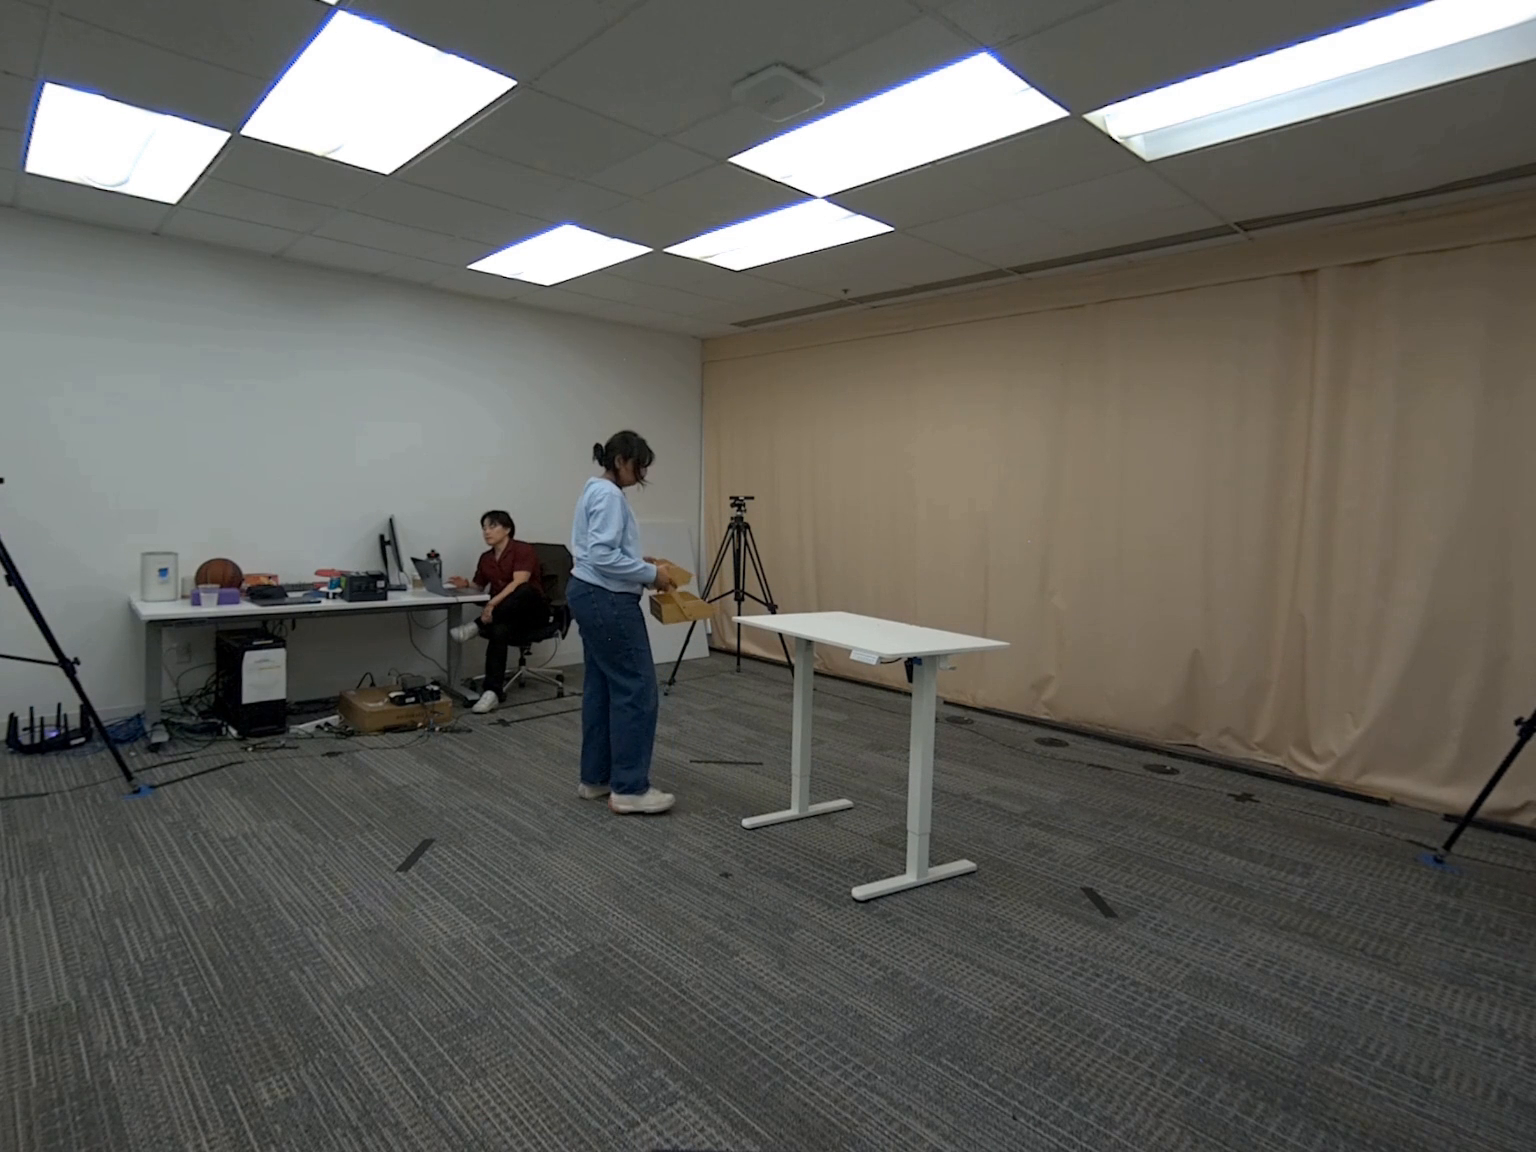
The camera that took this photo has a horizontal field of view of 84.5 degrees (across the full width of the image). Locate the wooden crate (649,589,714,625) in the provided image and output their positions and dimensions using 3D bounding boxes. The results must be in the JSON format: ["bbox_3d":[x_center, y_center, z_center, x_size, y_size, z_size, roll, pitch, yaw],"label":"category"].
[{"bbox_3d":[-0.454,0.055,3.994,0.298,0.271,0.331,-7,9,-20],"label":"wooden crate"}]
